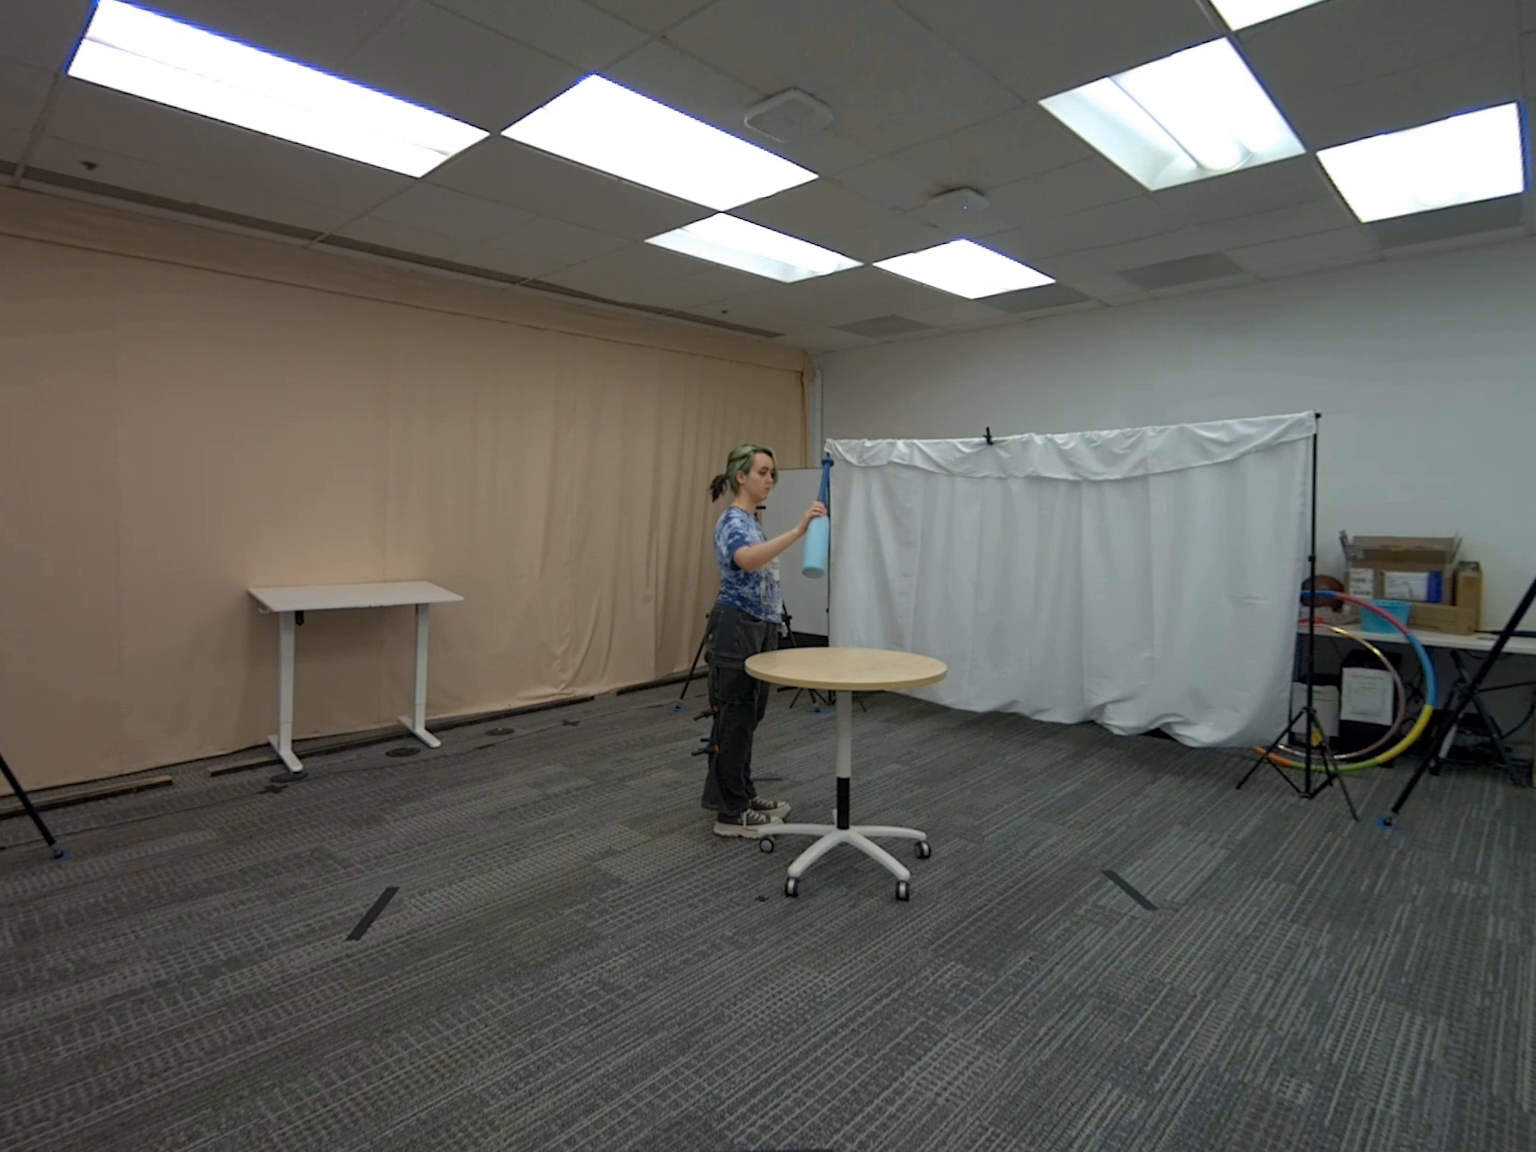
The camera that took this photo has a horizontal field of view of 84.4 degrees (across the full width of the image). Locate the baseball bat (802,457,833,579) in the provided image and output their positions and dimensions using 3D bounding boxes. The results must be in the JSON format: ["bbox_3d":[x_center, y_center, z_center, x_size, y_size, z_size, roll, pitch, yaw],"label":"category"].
[{"bbox_3d":[0.210,-0.237,3.219,0.089,0.550,0.087,6,-31,2],"label":"baseball bat"}]
